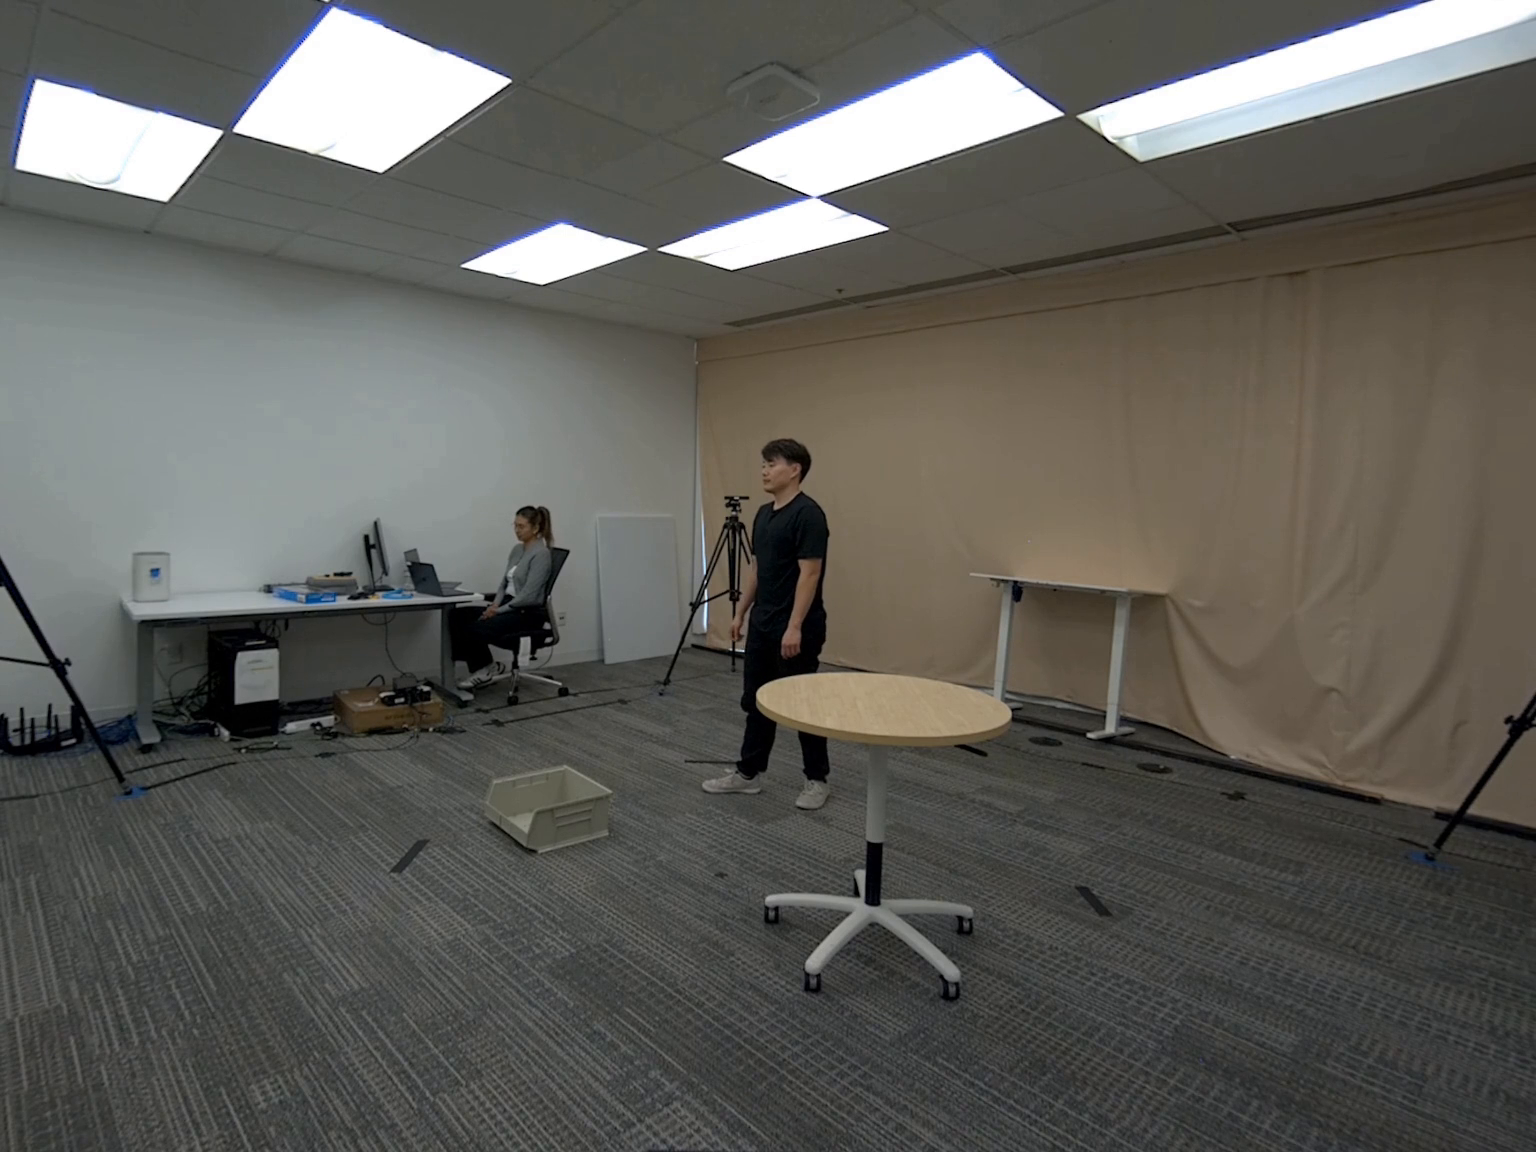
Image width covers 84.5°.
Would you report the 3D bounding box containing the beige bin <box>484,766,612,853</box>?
[{"bbox_3d":[-0.921,0.963,3.493,0.369,0.188,0.433,-2,6,-40],"label":"beige bin"}]
